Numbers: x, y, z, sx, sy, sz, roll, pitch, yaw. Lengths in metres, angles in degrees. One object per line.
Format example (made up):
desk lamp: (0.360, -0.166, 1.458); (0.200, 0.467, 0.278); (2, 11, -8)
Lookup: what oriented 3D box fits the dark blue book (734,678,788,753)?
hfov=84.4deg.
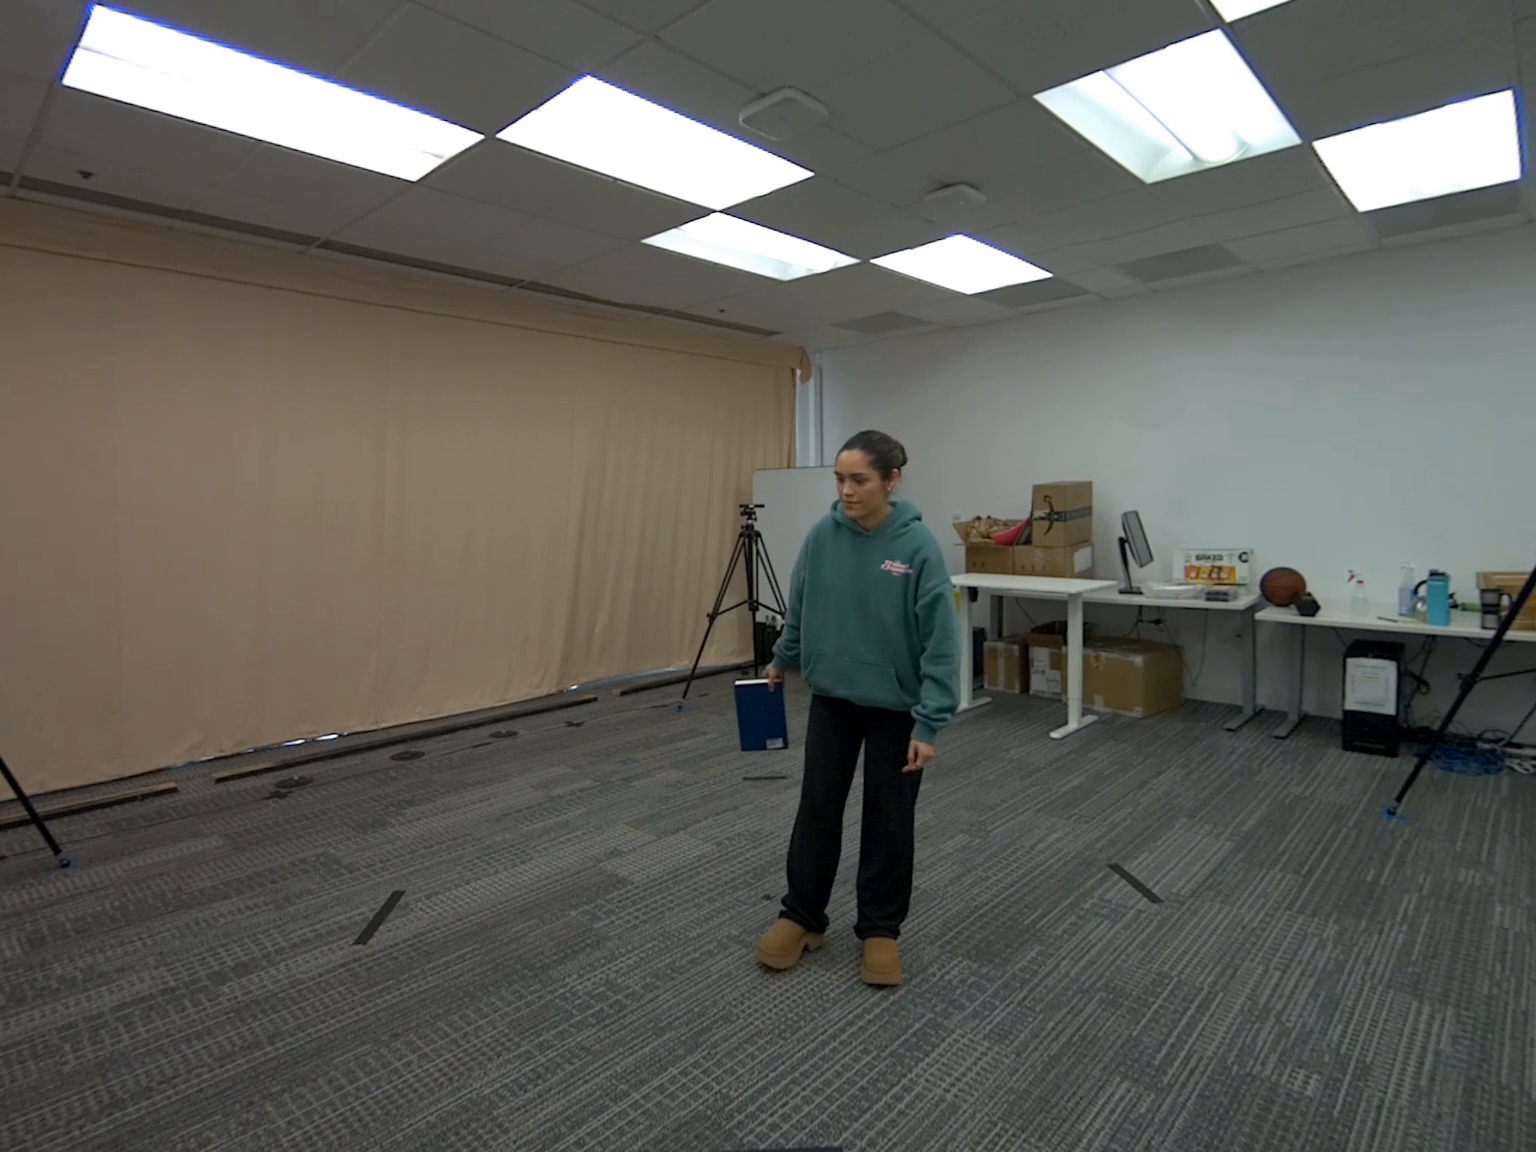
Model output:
dark blue book: (-0.008, 0.471, 2.815); (0.164, 0.243, 0.045); (-2, 11, 6)
